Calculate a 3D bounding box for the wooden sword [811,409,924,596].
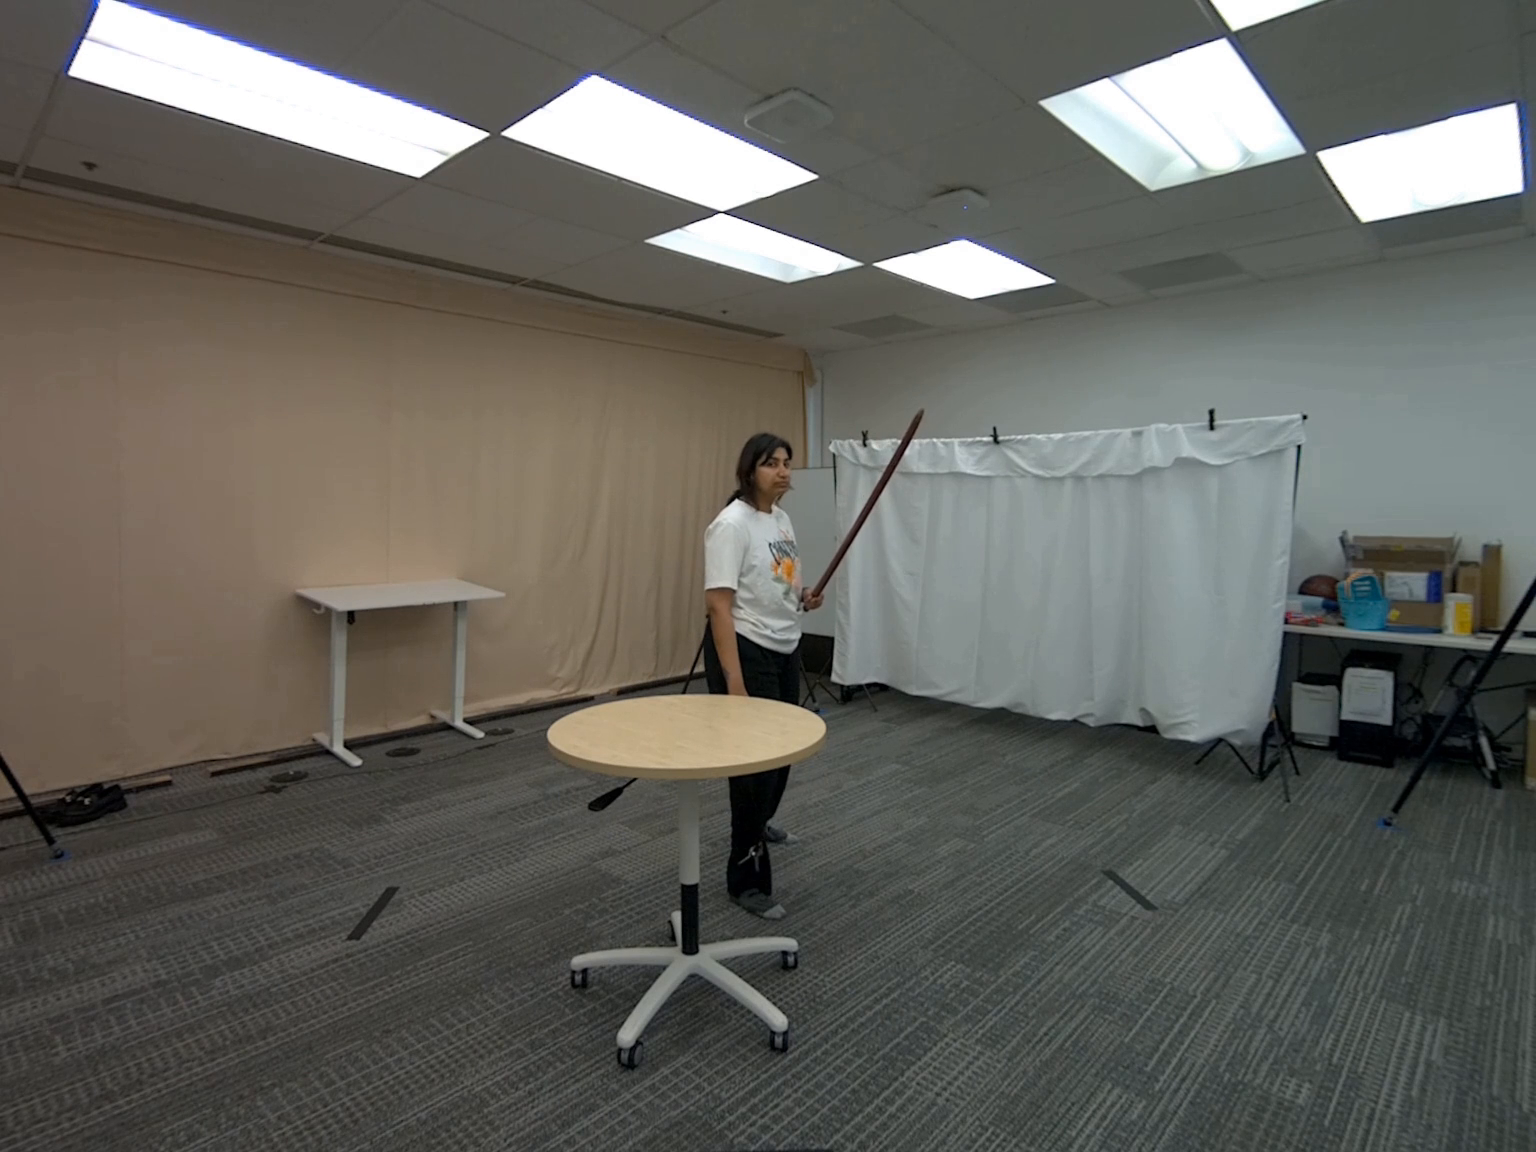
[{"bbox_3d":[0.296,-0.178,2.706,0.050,0.024,1.020,-27,-23,-34],"label":"wooden sword"}]
